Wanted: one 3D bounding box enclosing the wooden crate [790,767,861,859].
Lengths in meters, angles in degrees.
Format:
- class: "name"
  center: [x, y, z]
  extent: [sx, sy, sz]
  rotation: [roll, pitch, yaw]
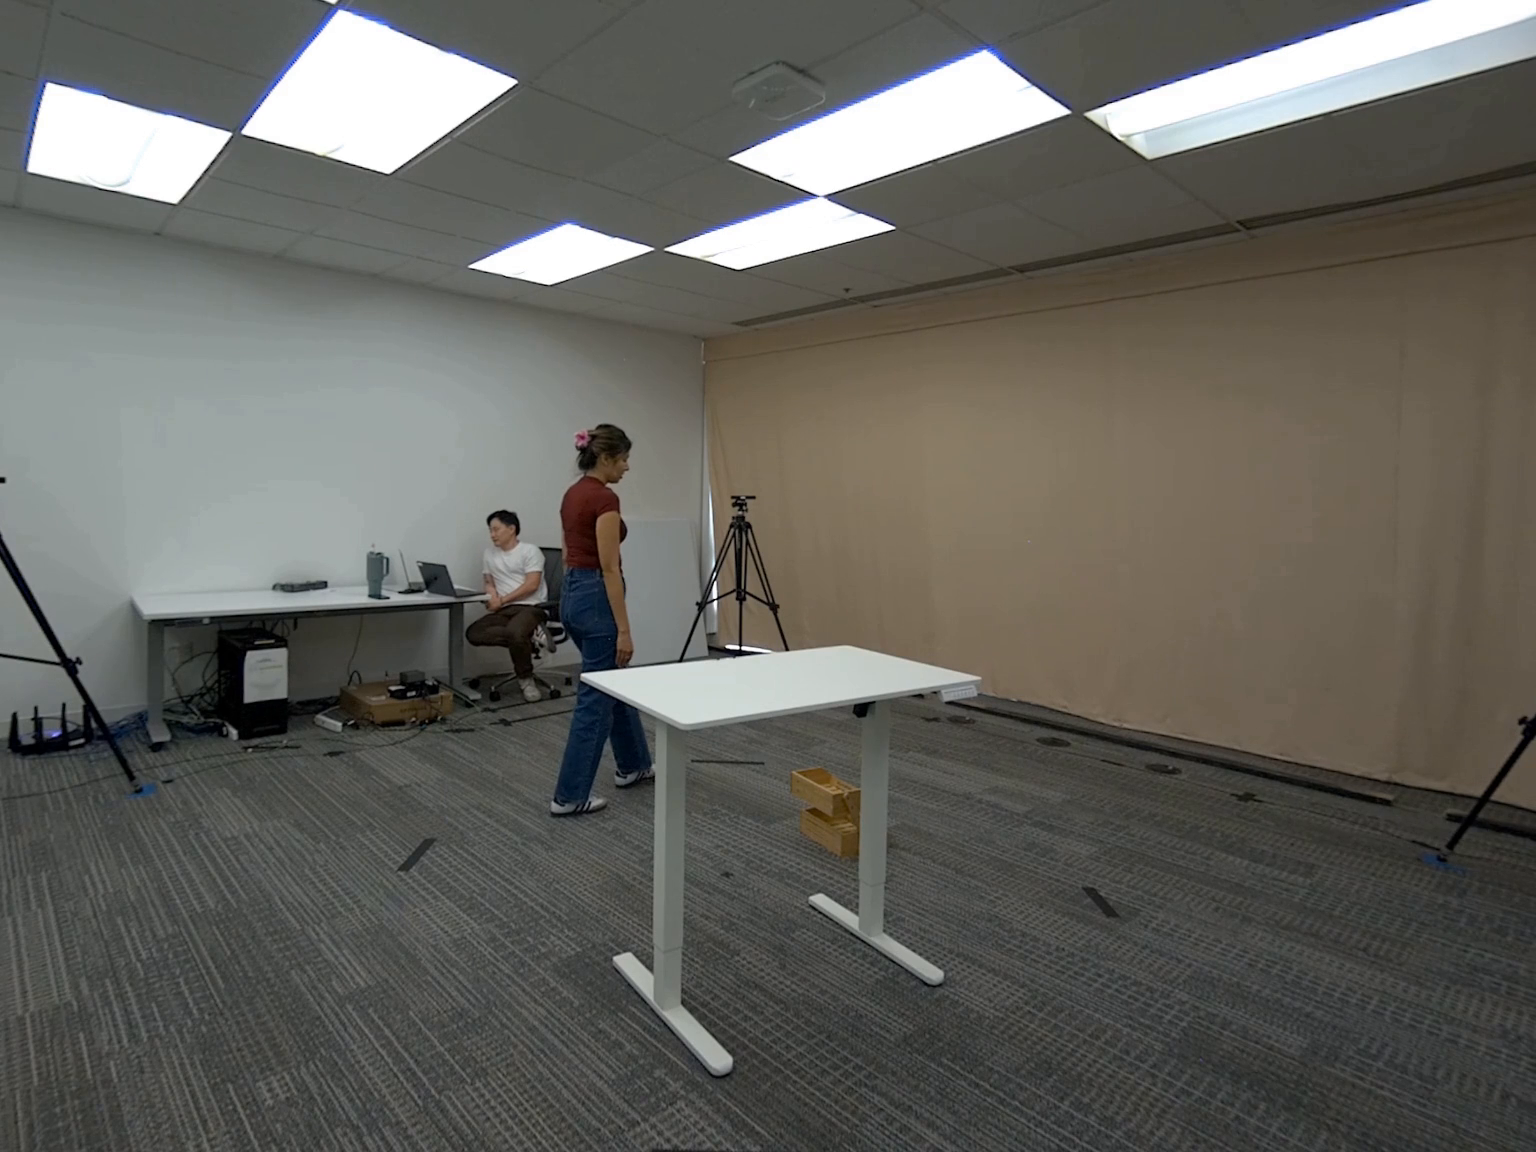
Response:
- class: "wooden crate"
  center: [0.291, 0.947, 3.445]
  extent: [0.296, 0.272, 0.332]
  rotation: [-1, 5, -30]
